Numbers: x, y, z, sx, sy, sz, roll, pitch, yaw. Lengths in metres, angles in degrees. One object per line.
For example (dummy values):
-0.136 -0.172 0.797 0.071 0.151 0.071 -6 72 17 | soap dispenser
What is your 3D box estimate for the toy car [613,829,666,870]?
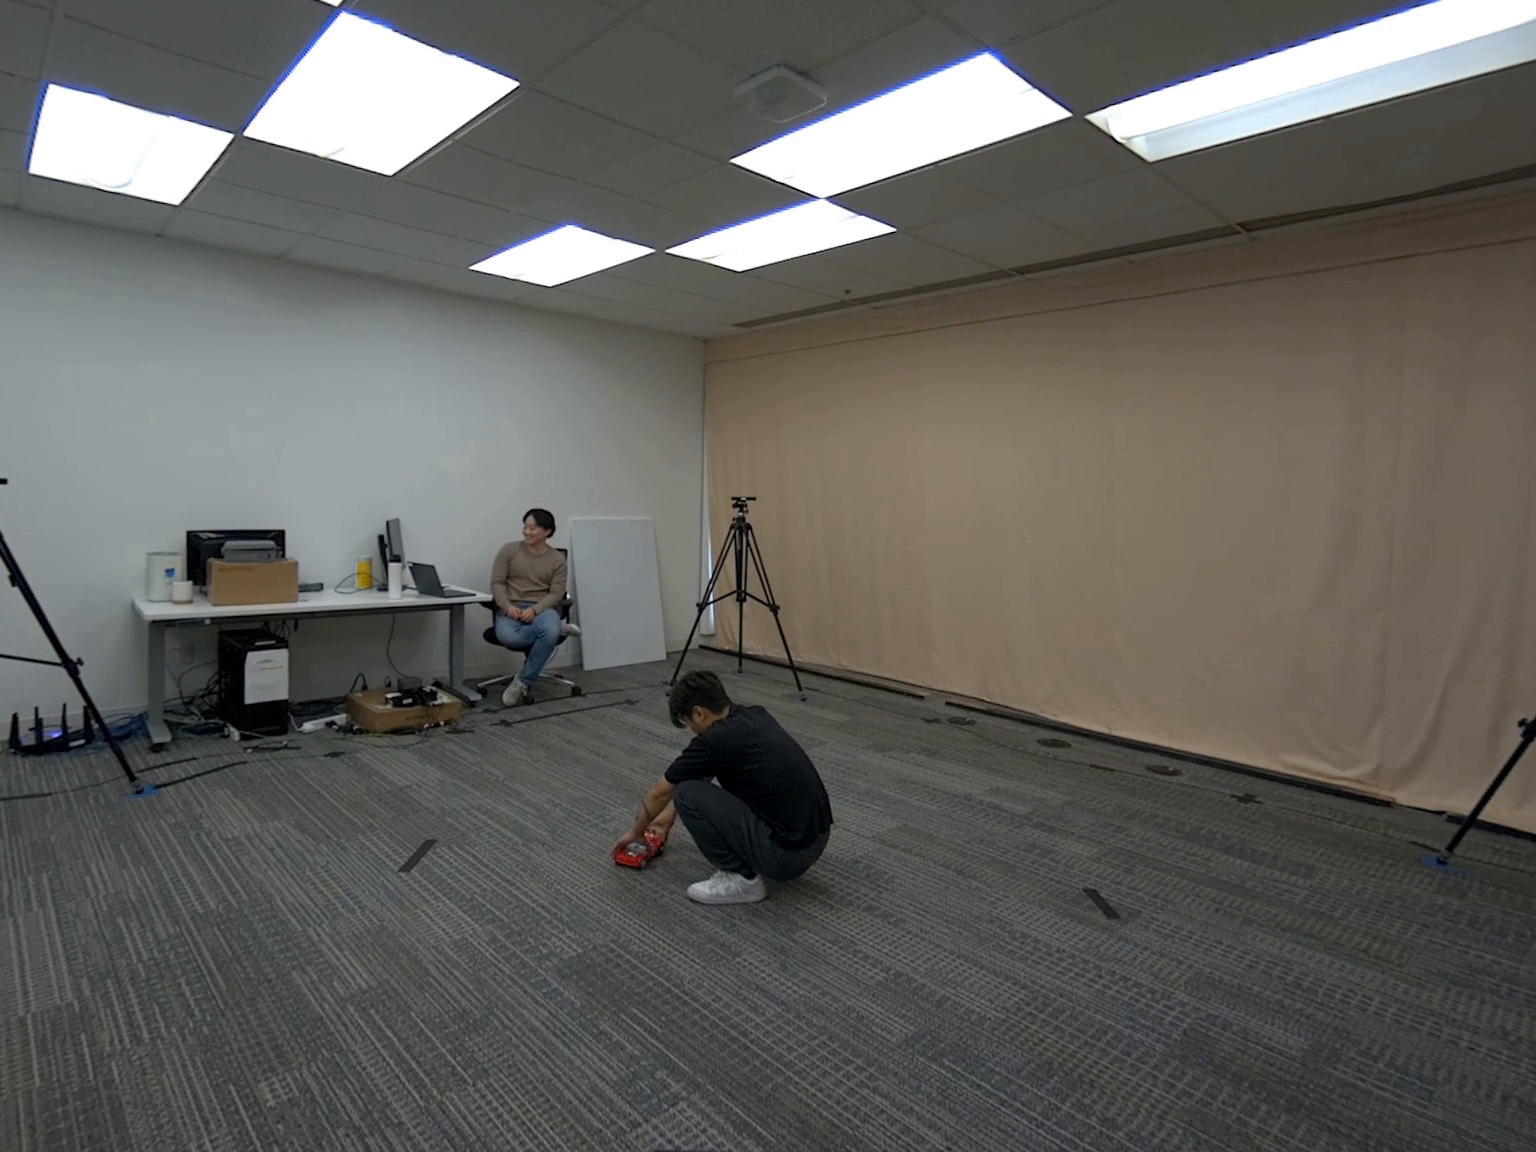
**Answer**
-0.480 1.050 3.249 0.132 0.082 0.252 1 14 23 | toy car
